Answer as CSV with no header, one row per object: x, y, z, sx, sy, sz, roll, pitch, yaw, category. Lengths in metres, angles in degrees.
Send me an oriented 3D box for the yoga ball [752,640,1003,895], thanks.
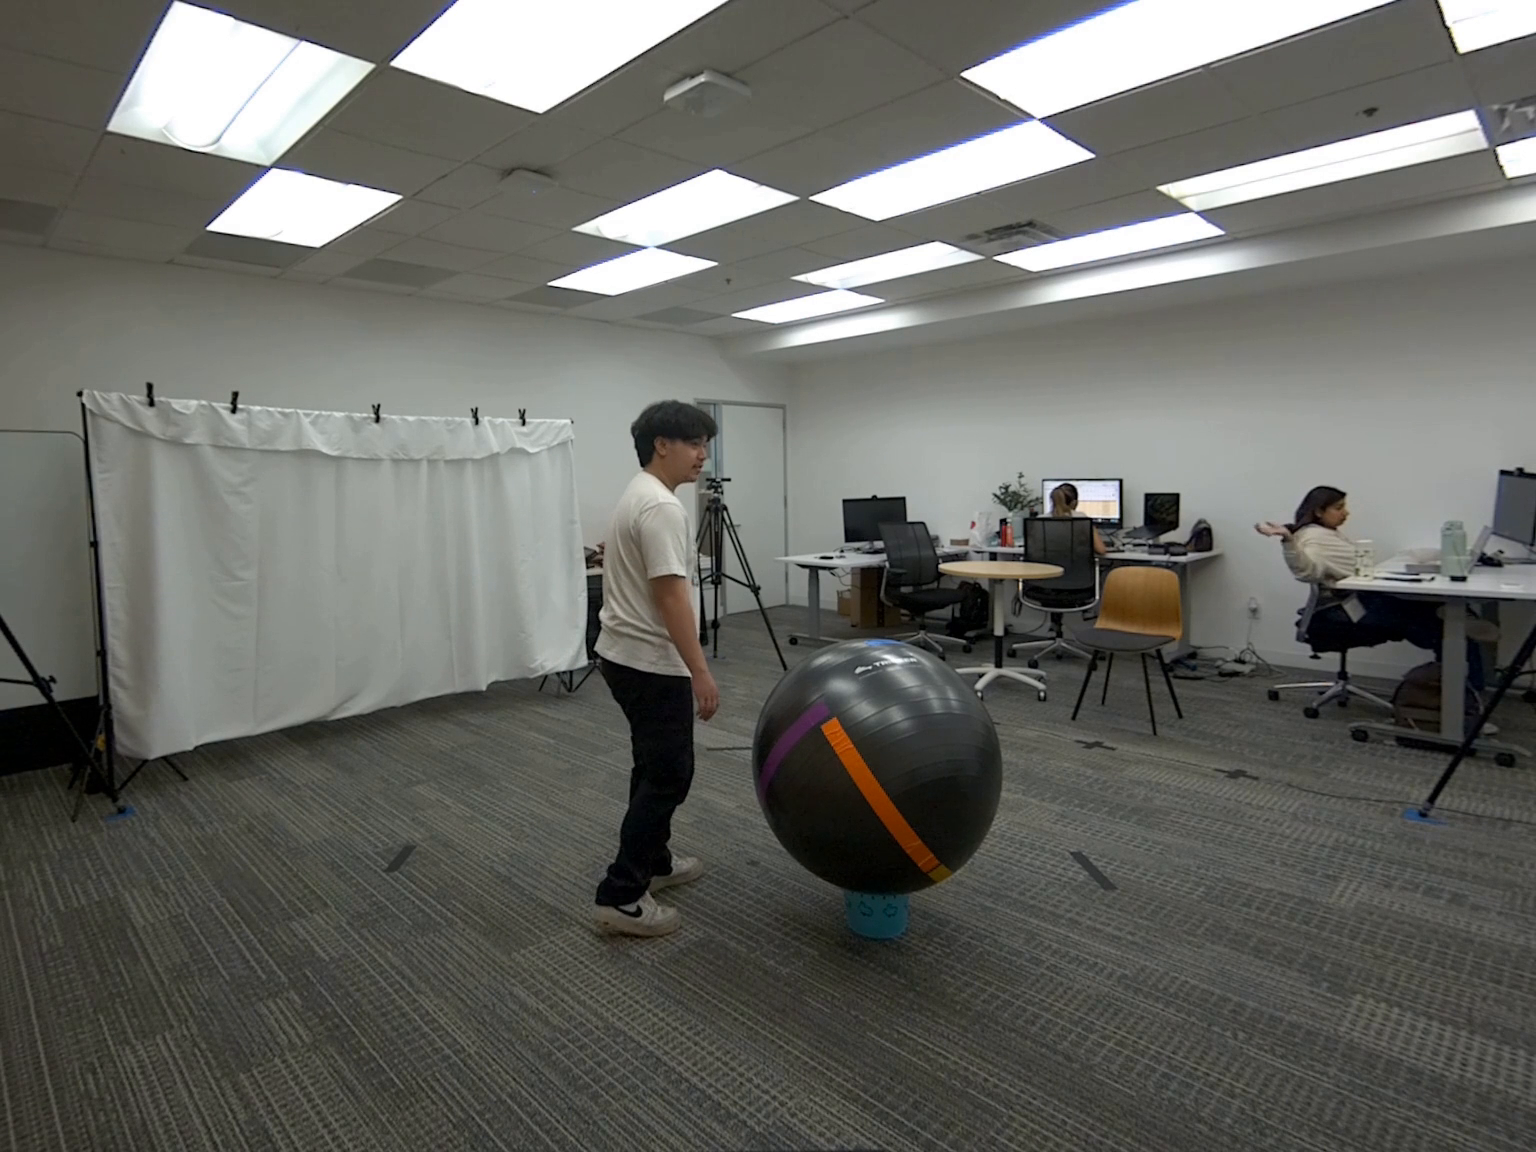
0.329,0.576,2.639,0.757,0.755,0.762,-1,5,-2,yoga ball
